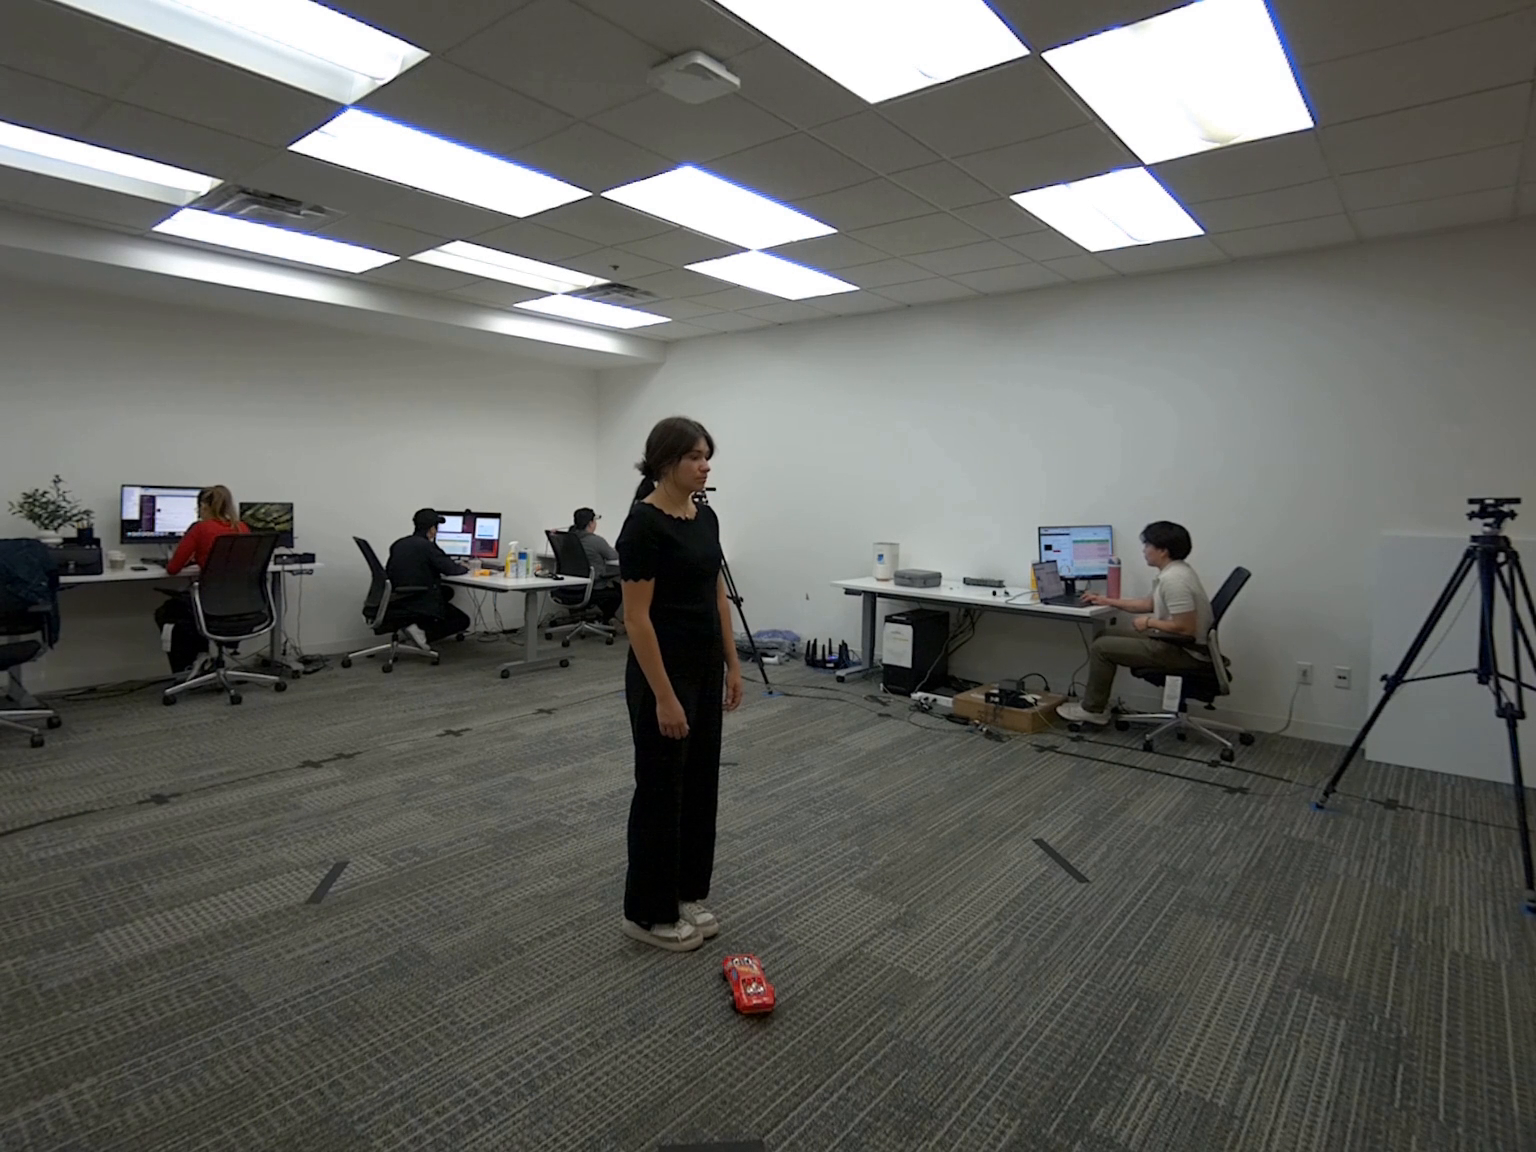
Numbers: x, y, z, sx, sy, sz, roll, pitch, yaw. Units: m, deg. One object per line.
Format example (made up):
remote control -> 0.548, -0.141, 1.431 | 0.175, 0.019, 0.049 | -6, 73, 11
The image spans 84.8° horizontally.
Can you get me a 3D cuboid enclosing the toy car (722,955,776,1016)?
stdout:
toy car -> -0.057, 1.117, 2.320 | 0.129, 0.084, 0.256 | 0, -5, -13
